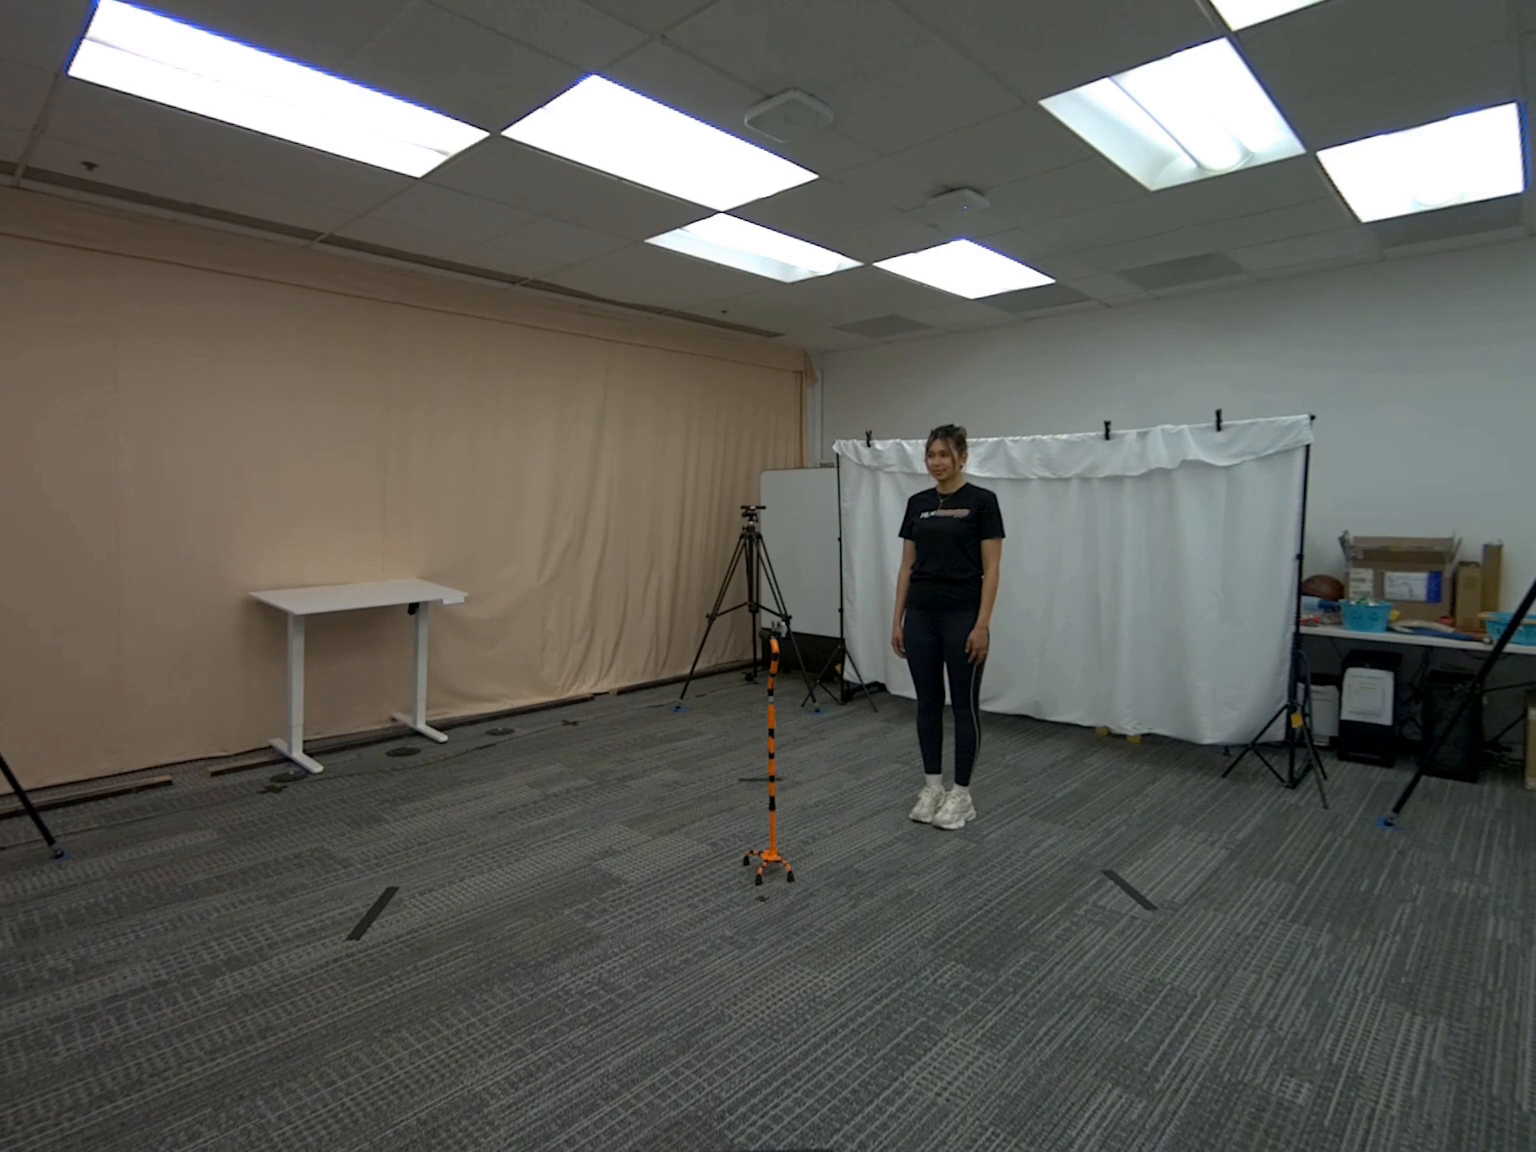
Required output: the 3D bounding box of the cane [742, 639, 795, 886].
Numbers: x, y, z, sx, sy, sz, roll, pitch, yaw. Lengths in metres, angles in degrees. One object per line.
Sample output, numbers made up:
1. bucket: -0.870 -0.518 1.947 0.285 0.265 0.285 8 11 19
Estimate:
1. cane: 0.003 0.674 3.177 0.149 0.906 0.210 -1 3 -17
